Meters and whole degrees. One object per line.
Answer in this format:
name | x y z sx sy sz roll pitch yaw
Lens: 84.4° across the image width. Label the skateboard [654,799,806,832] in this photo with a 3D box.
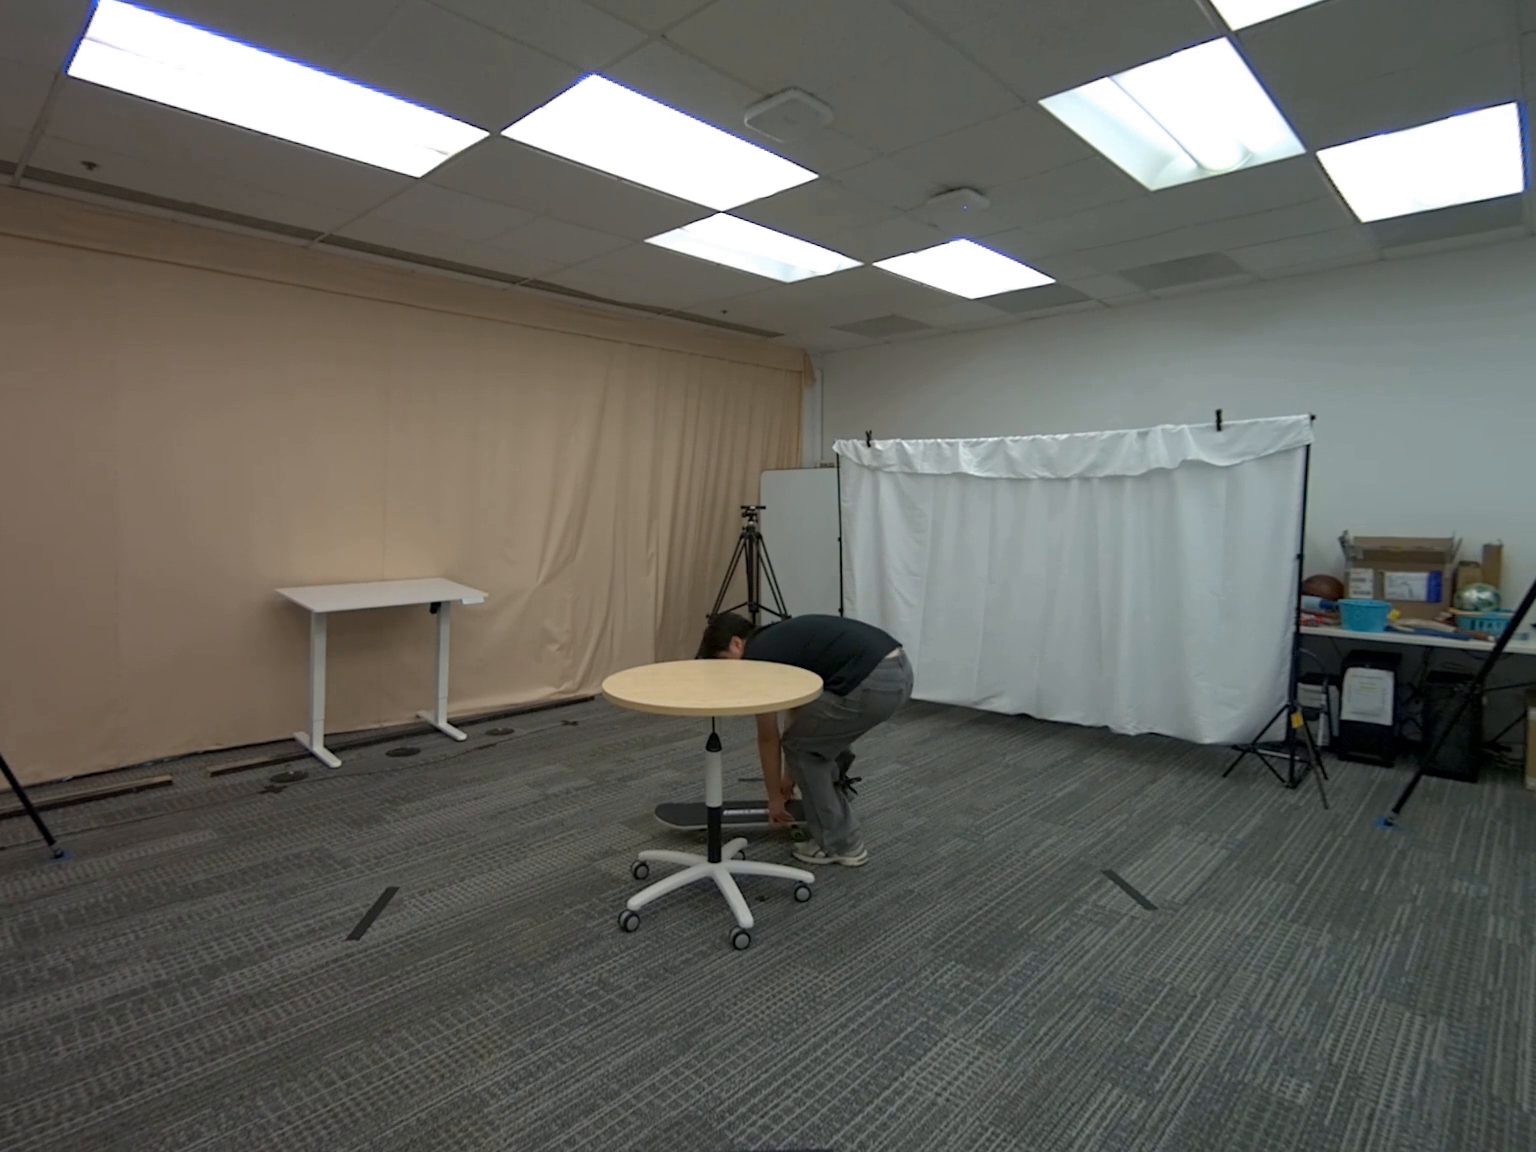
skateboard | -0.073 1.025 3.546 0.784 0.110 0.195 0 9 -2
